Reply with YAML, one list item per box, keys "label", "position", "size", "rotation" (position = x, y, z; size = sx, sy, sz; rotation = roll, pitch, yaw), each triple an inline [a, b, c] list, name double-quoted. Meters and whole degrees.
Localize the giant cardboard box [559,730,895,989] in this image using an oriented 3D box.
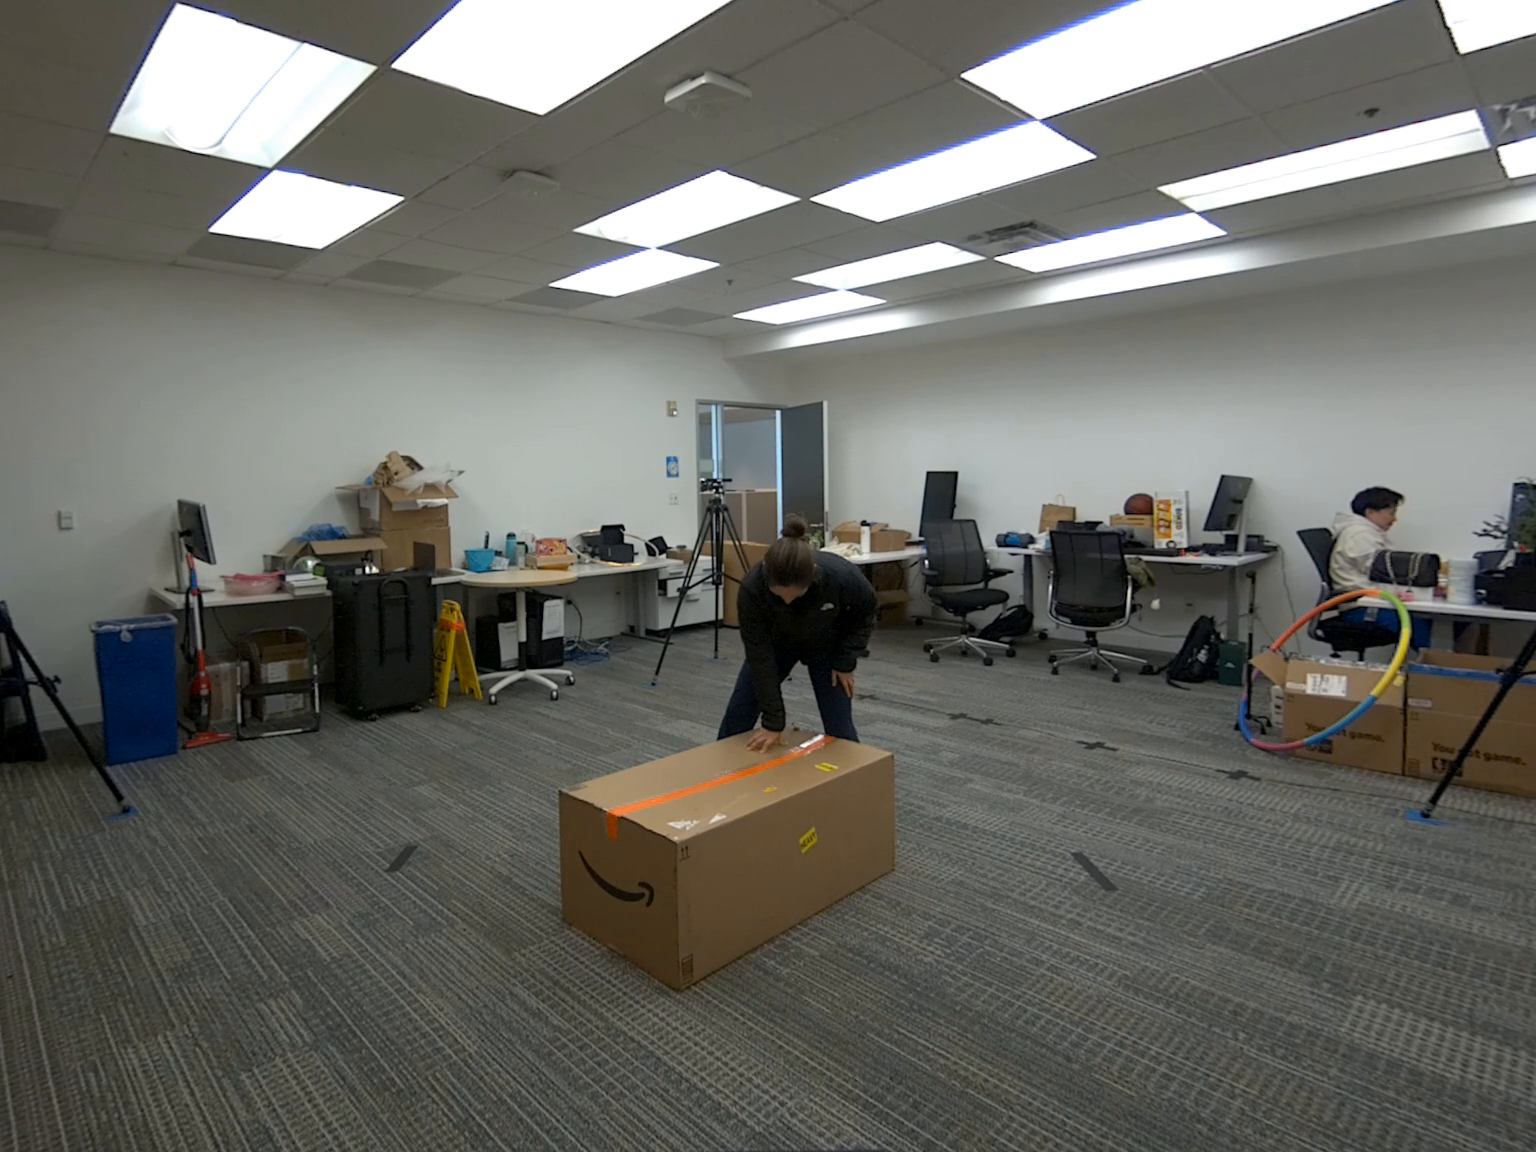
- label: "giant cardboard box"
  position: [-0.108, 0.865, 2.883]
  size: [0.601, 0.445, 1.001]
  rotation: [2, 7, 44]
